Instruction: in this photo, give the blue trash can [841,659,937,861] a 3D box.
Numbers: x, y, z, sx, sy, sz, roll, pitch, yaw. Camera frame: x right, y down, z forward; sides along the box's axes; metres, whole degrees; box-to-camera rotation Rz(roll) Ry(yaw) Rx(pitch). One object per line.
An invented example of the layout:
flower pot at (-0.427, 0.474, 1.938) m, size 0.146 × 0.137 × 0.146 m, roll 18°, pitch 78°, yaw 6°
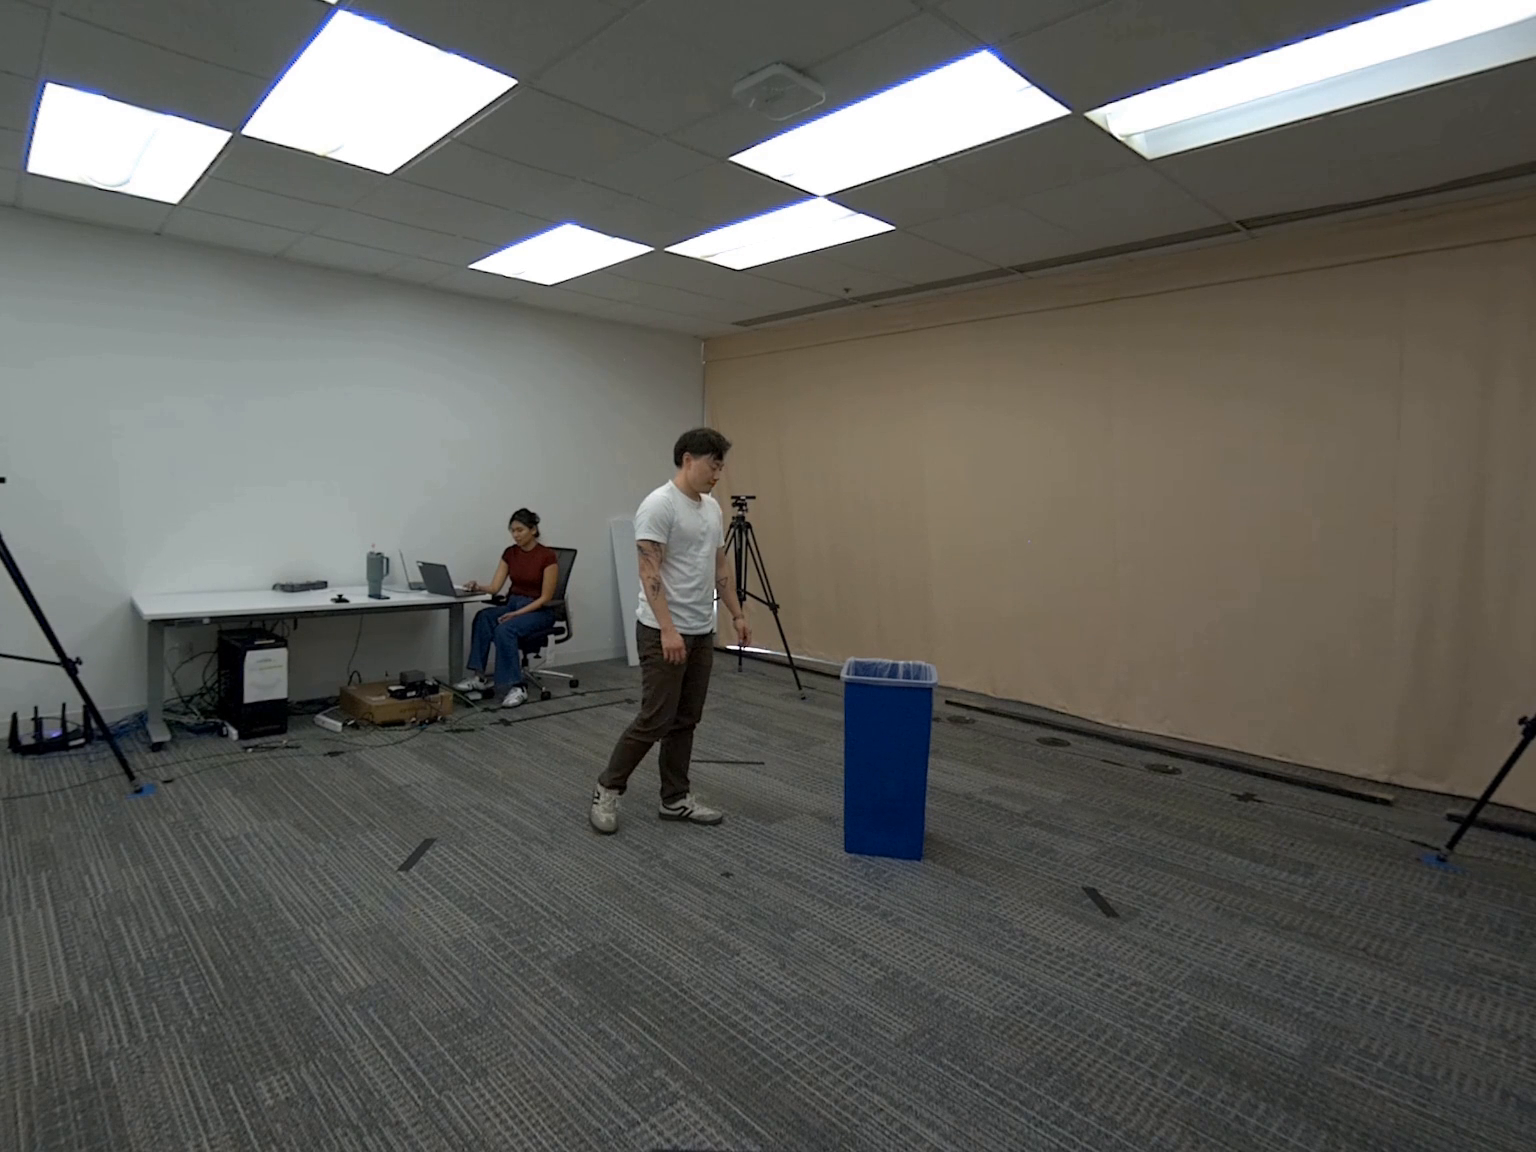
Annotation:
blue trash can at (0.466, 0.732, 3.420) m, size 0.377 × 0.712 × 0.376 m, roll 3°, pitch 4°, yaw 10°
